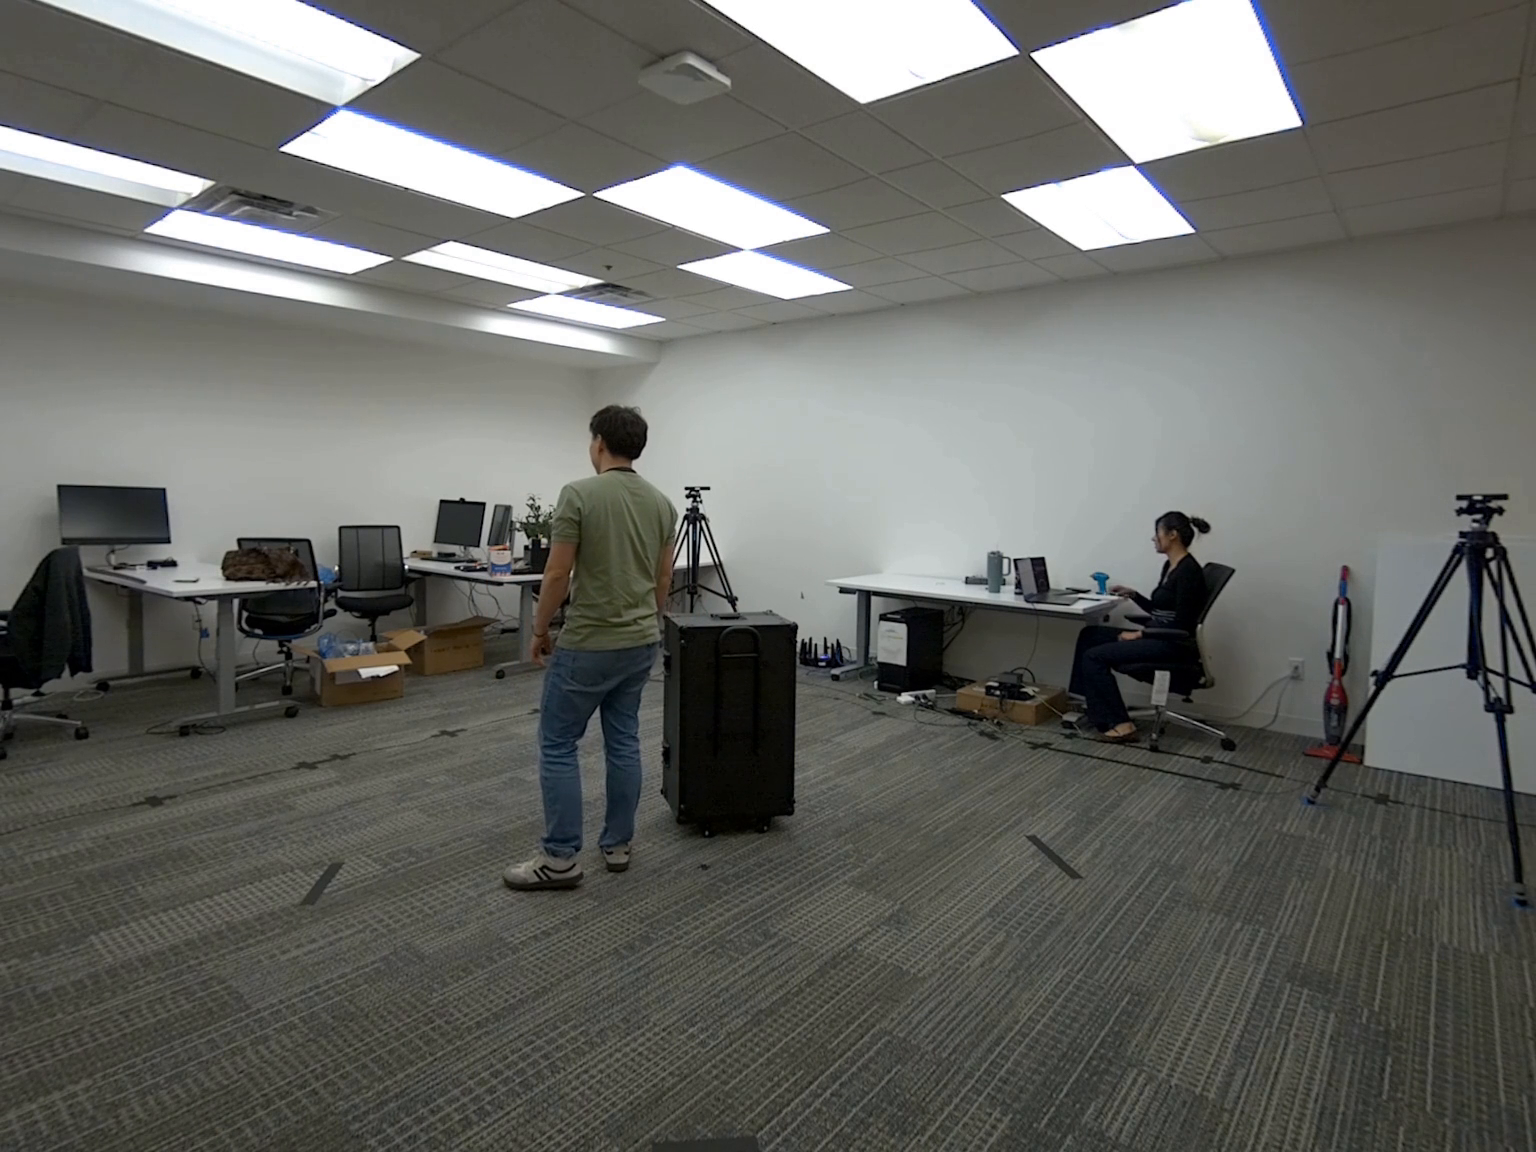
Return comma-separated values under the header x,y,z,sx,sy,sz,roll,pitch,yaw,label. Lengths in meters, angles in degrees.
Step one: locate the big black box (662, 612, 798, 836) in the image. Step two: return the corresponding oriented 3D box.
x,y,z,sx,sy,sz,roll,pitch,yaw,label
-0.180,0.539,3.530,0.513,0.859,0.404,0,3,-16,big black box
